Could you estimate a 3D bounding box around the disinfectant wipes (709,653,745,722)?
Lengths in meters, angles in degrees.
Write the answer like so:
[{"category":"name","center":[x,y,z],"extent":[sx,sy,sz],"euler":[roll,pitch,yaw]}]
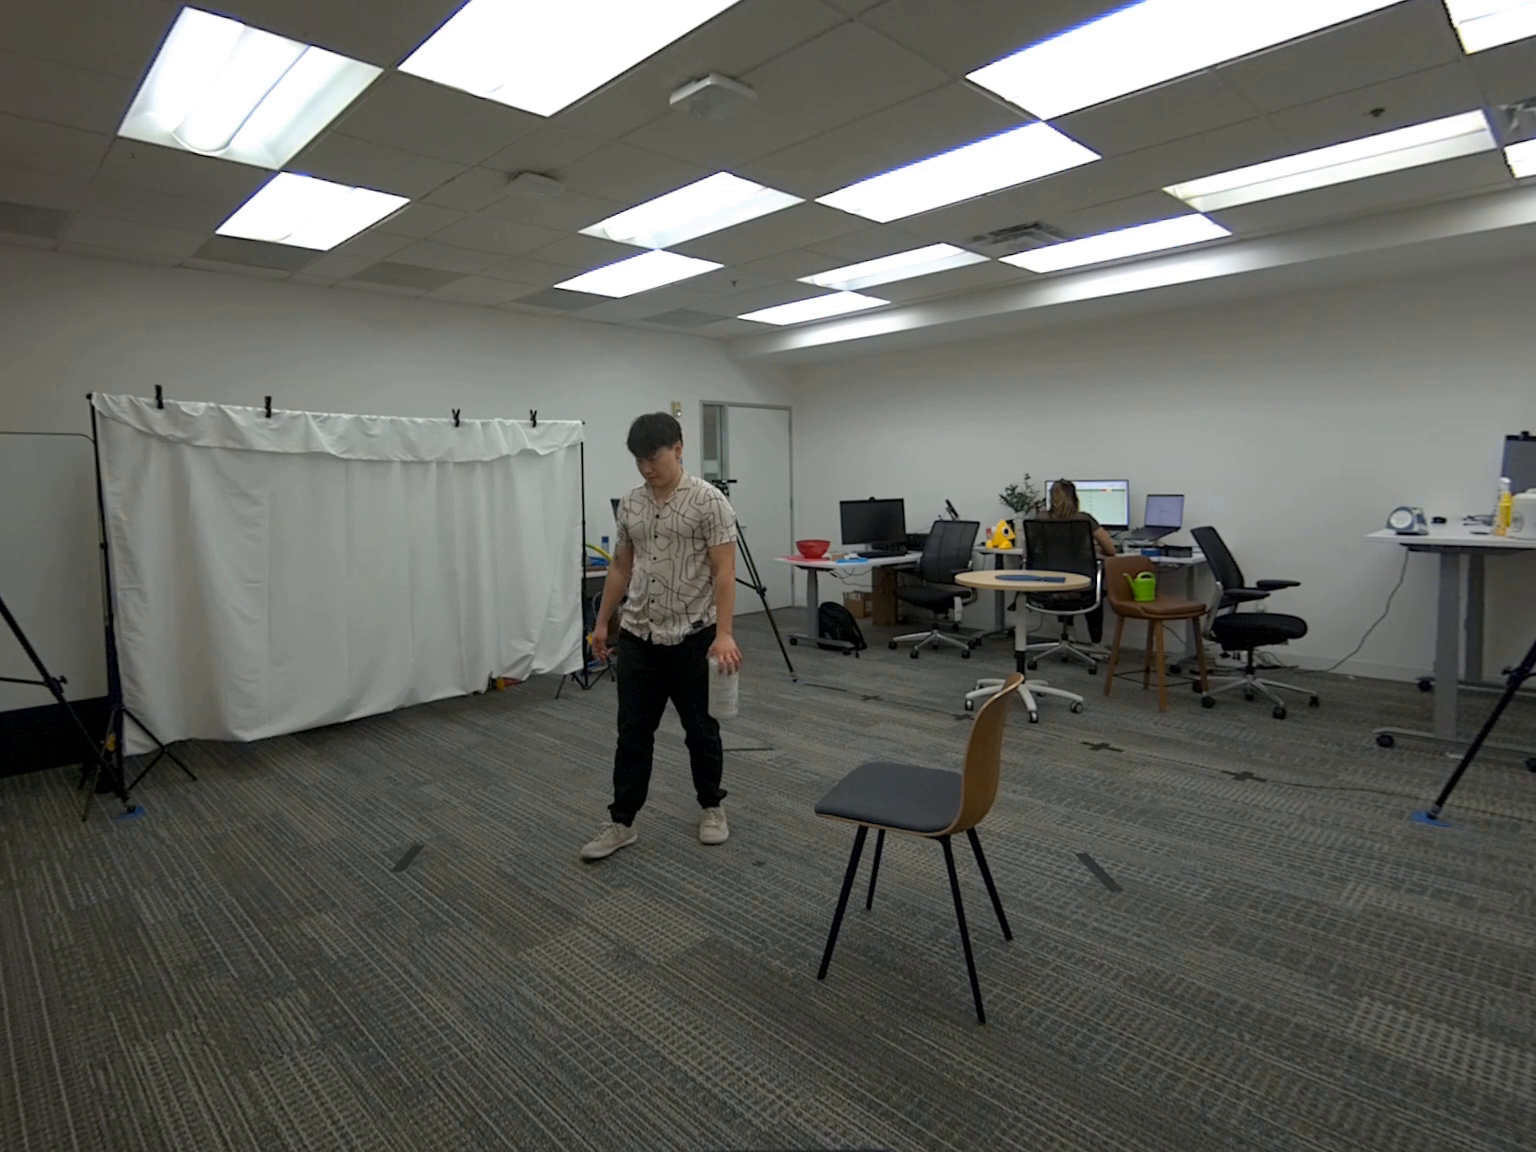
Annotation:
[{"category":"disinfectant wipes","center":[-0.154,0.396,3.095],"extent":[0.117,0.216,0.119],"euler":[3,9,-2]}]
